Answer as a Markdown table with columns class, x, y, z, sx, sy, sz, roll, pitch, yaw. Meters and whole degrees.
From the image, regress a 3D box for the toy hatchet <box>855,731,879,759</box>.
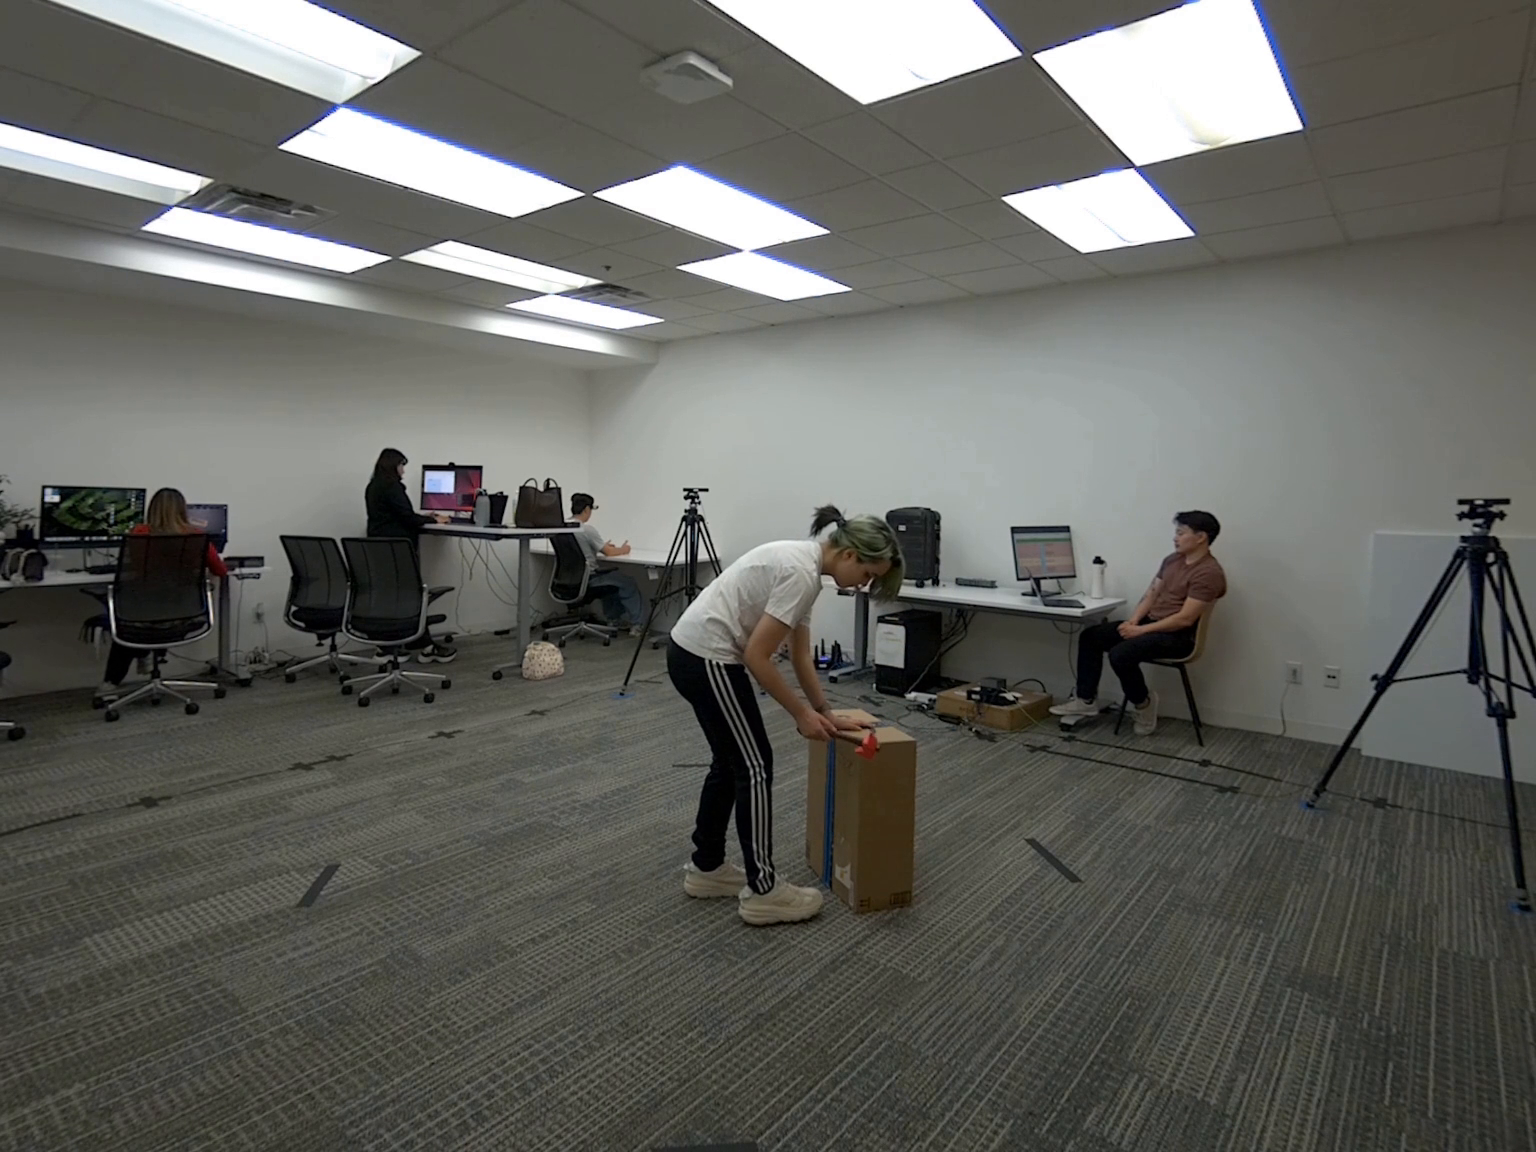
| class | x | y | z | sx | sy | sz | roll | pitch | yaw |
| --- | --- | --- | --- | --- | --- | --- | --- | --- | --- |
| toy hatchet | 0.227 | 0.533 | 2.720 | 0.277 | 0.126 | 0.030 | -5 | 39 | 31 |
